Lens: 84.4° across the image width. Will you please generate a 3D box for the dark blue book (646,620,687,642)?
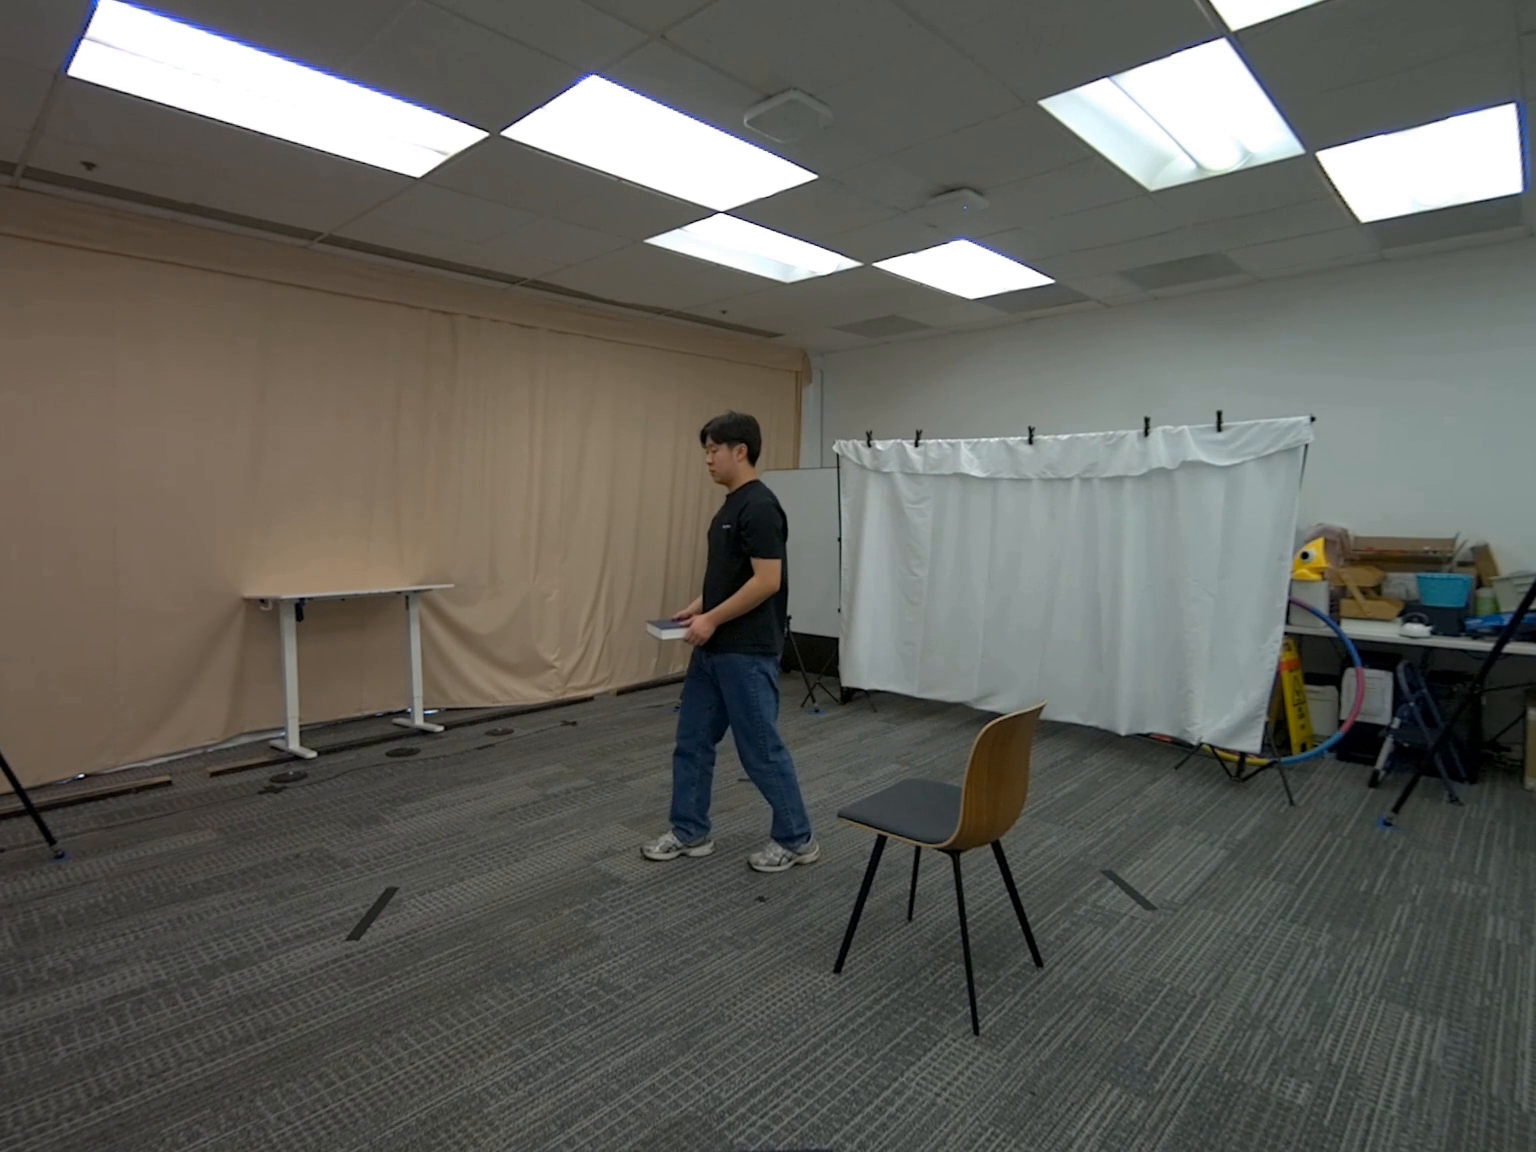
[{"bbox_3d":[-0.353,0.202,3.209,0.161,0.045,0.249,-4,5,-14],"label":"dark blue book"}]
